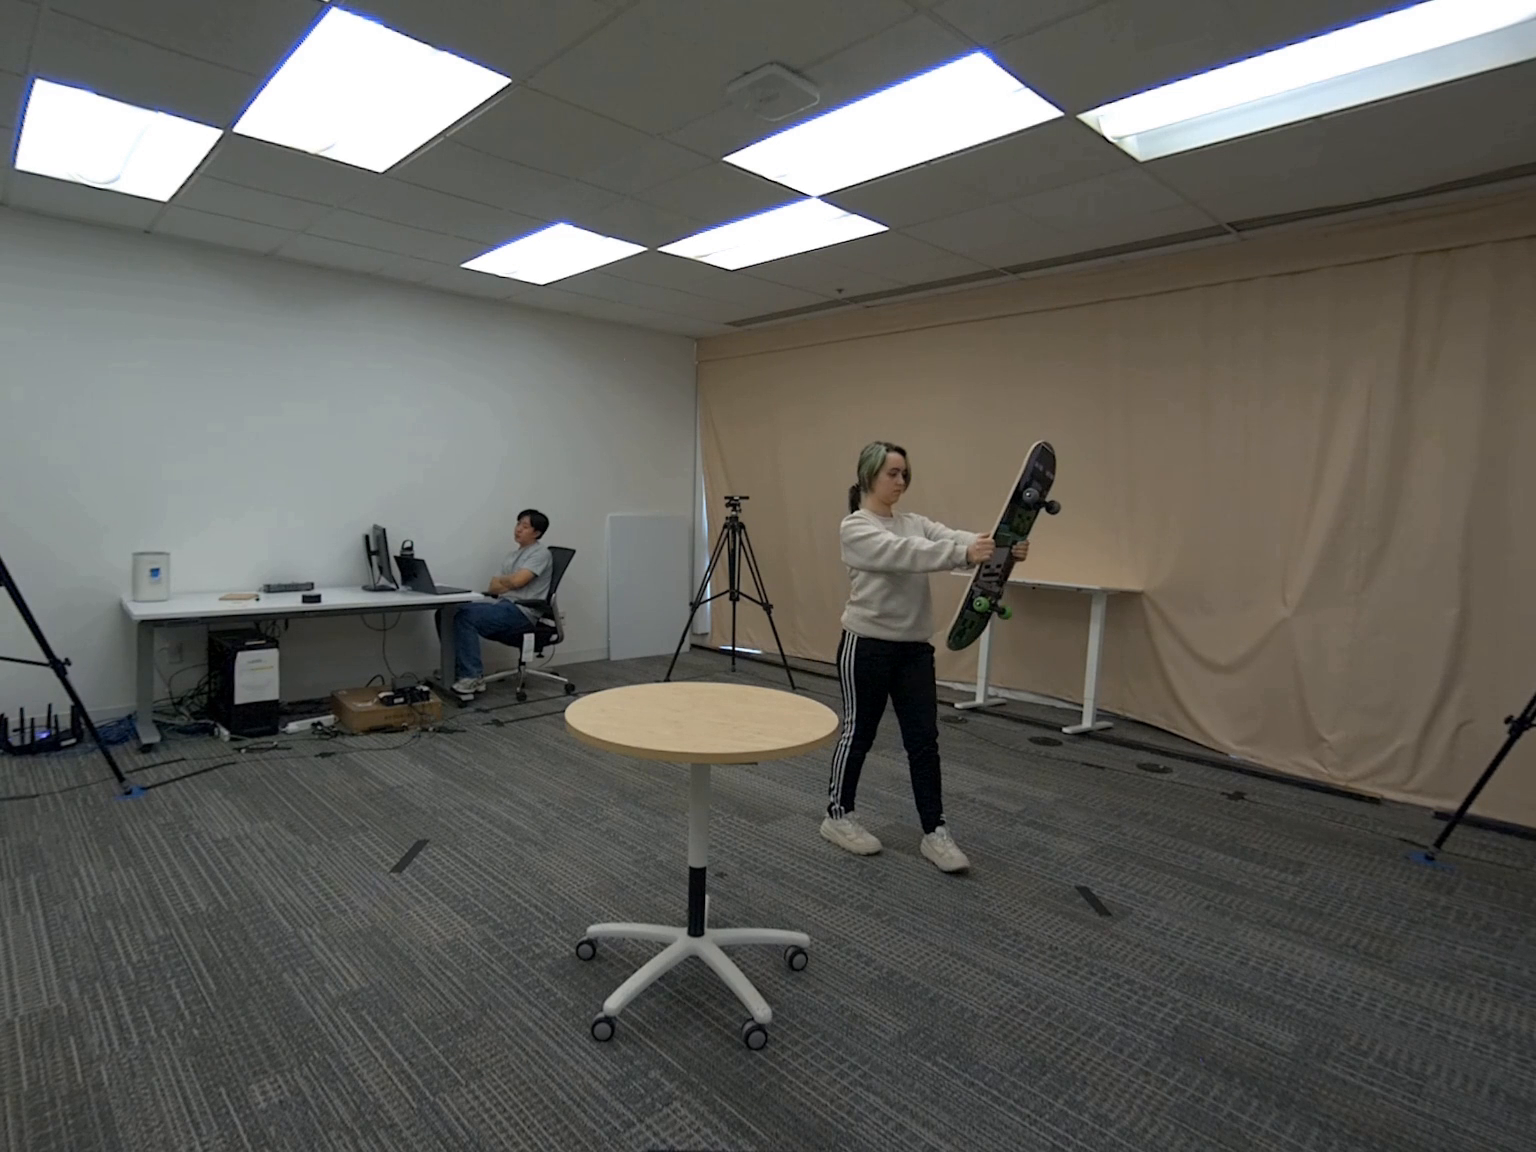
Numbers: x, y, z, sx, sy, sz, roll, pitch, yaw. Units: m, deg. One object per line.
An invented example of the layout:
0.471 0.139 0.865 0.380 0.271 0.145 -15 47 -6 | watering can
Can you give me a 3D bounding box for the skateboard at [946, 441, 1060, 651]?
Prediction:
0.821 -0.082 2.889 0.188 0.783 0.114 16 10 -42 | skateboard
